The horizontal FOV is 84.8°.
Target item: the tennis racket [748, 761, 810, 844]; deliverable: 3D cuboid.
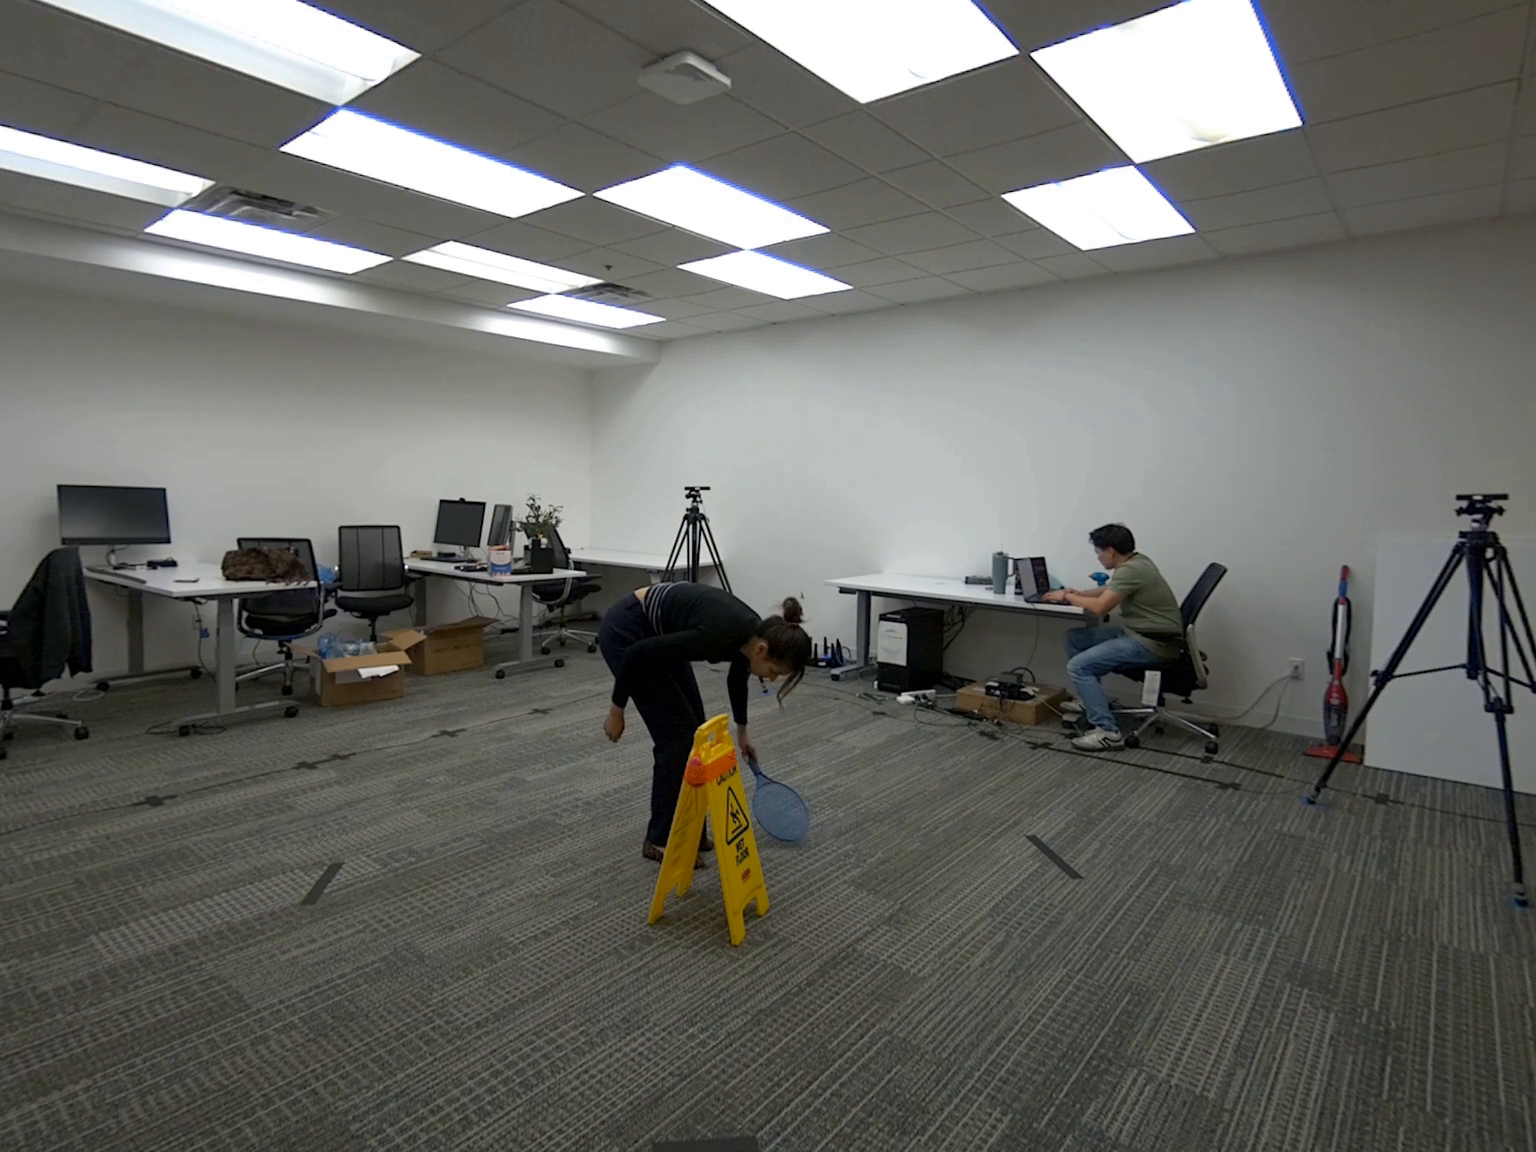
[{"bbox_3d":[0.007,0.894,3.443,0.210,0.031,0.450,-20,52,-24],"label":"tennis racket"}]
